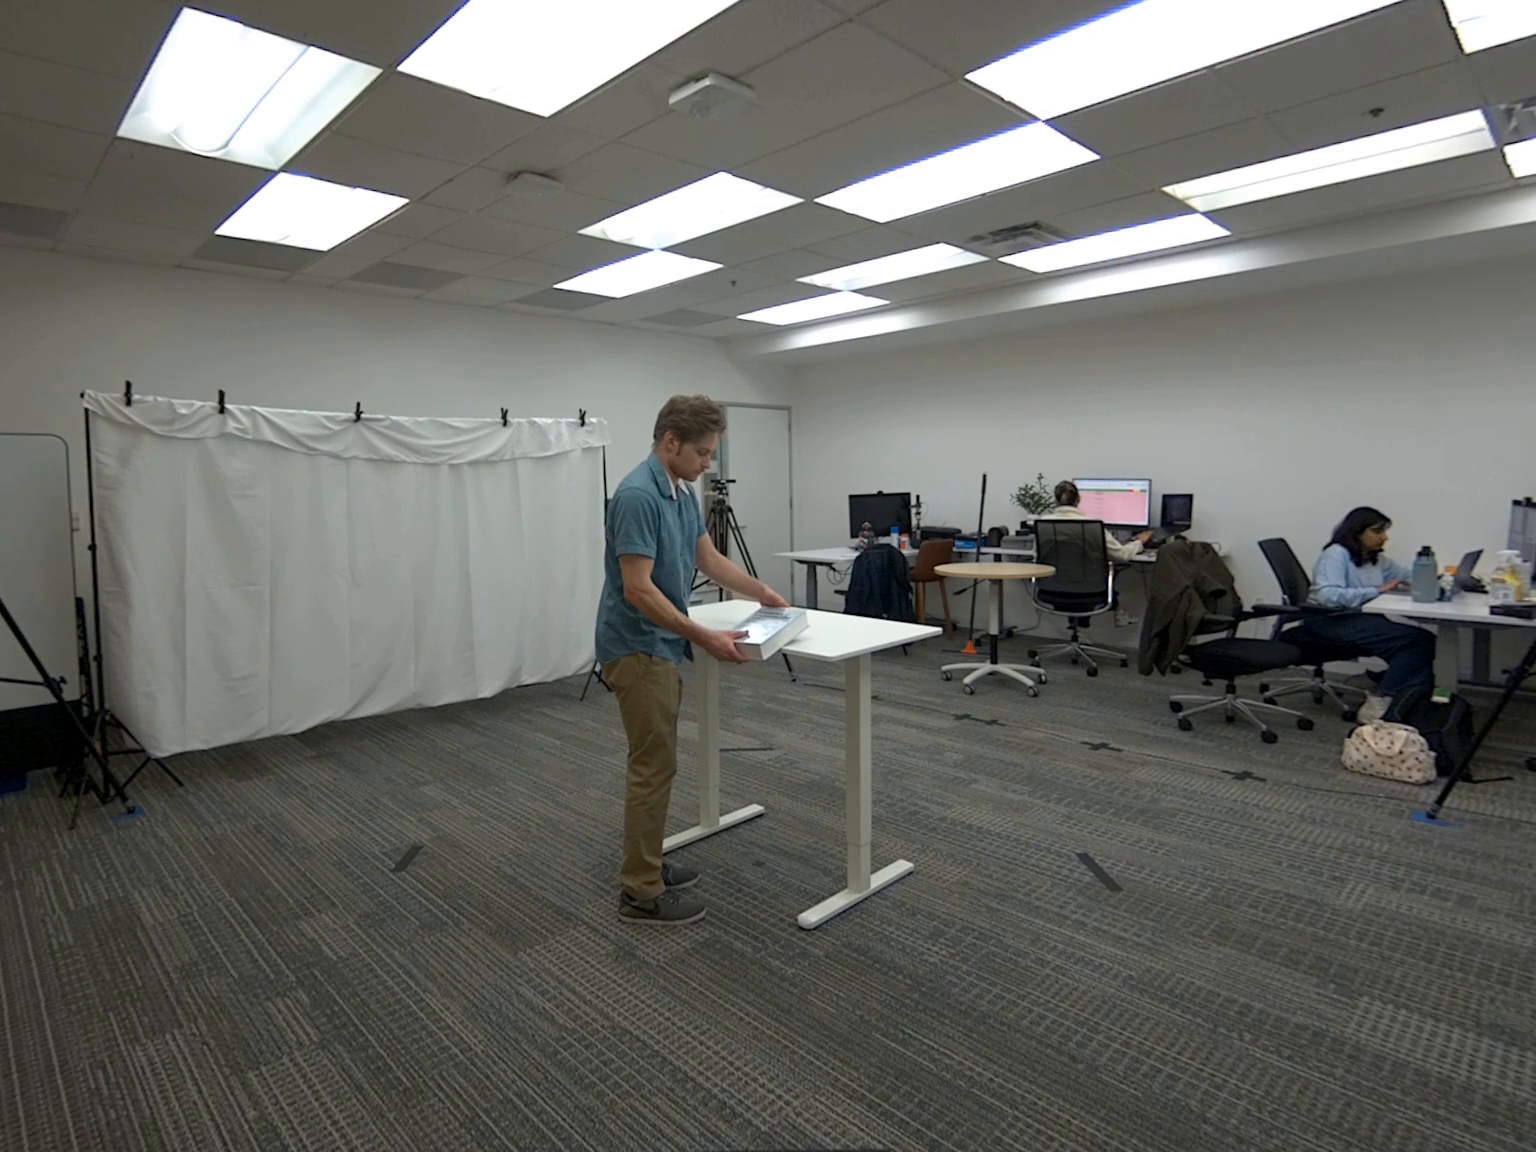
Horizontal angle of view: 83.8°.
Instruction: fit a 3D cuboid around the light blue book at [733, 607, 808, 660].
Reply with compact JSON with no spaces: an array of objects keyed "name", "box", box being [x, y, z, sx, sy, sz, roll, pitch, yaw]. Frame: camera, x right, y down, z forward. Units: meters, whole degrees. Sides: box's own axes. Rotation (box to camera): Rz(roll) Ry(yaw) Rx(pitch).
[{"name":"light blue book","box":[-0.021,0.184,2.687,0.197,0.058,0.258,2,23,39]}]
